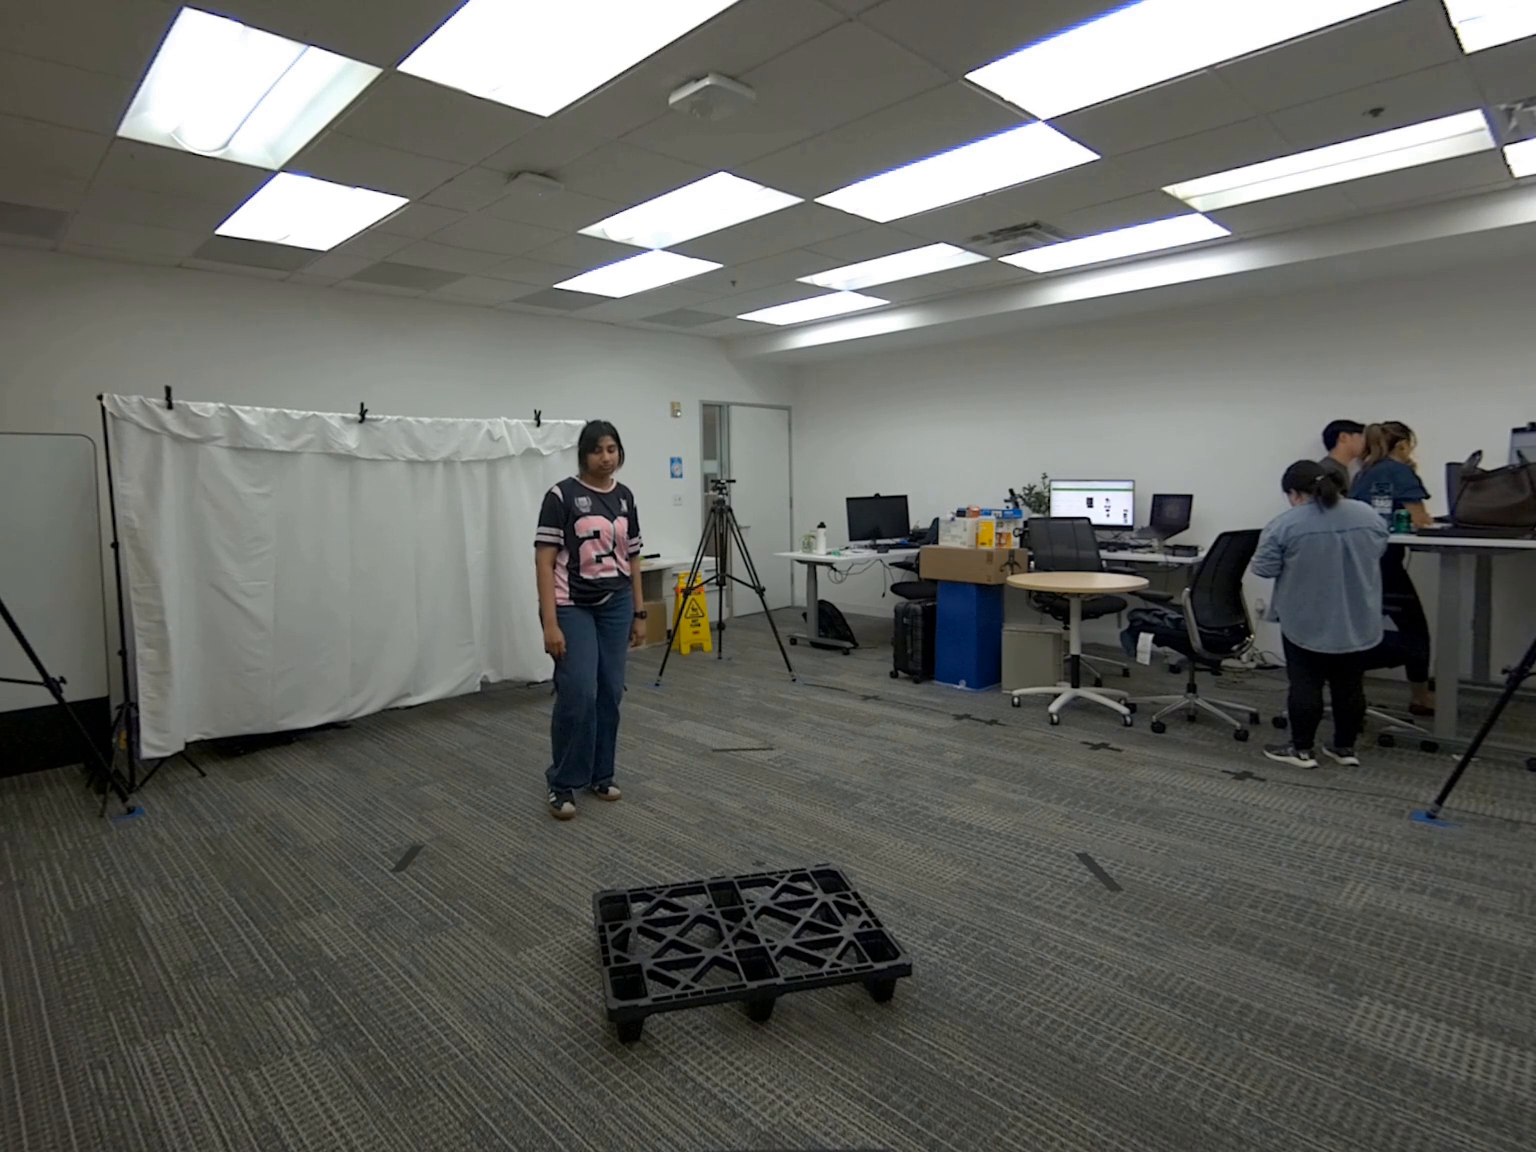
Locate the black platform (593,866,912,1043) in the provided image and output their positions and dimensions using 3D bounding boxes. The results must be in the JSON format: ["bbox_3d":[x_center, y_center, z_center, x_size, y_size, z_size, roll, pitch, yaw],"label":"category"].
[{"bbox_3d":[-0.080,1.059,2.439,0.796,0.143,0.615,-2,6,-13],"label":"black platform"}]
